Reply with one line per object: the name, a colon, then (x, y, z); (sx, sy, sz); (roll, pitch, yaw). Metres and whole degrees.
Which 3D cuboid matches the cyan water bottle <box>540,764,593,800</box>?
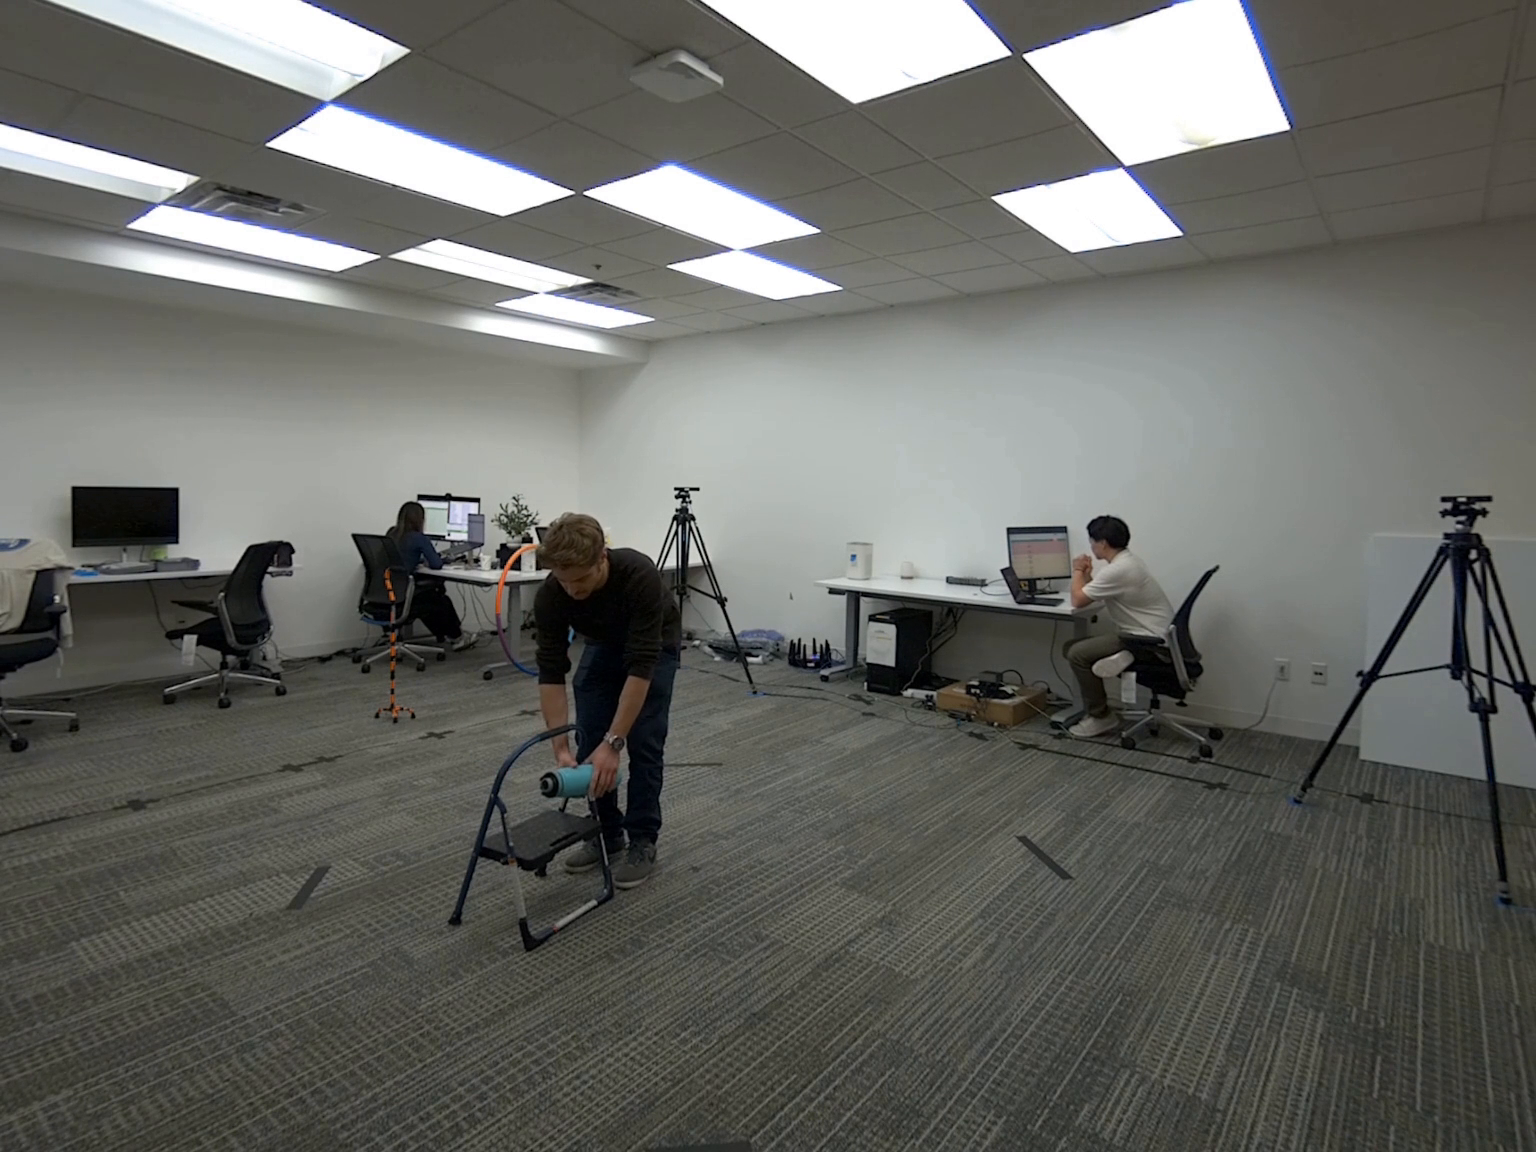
cyan water bottle: (-0.620, 0.653, 2.718); (0.095, 0.092, 0.274); (5, 1, 43)
